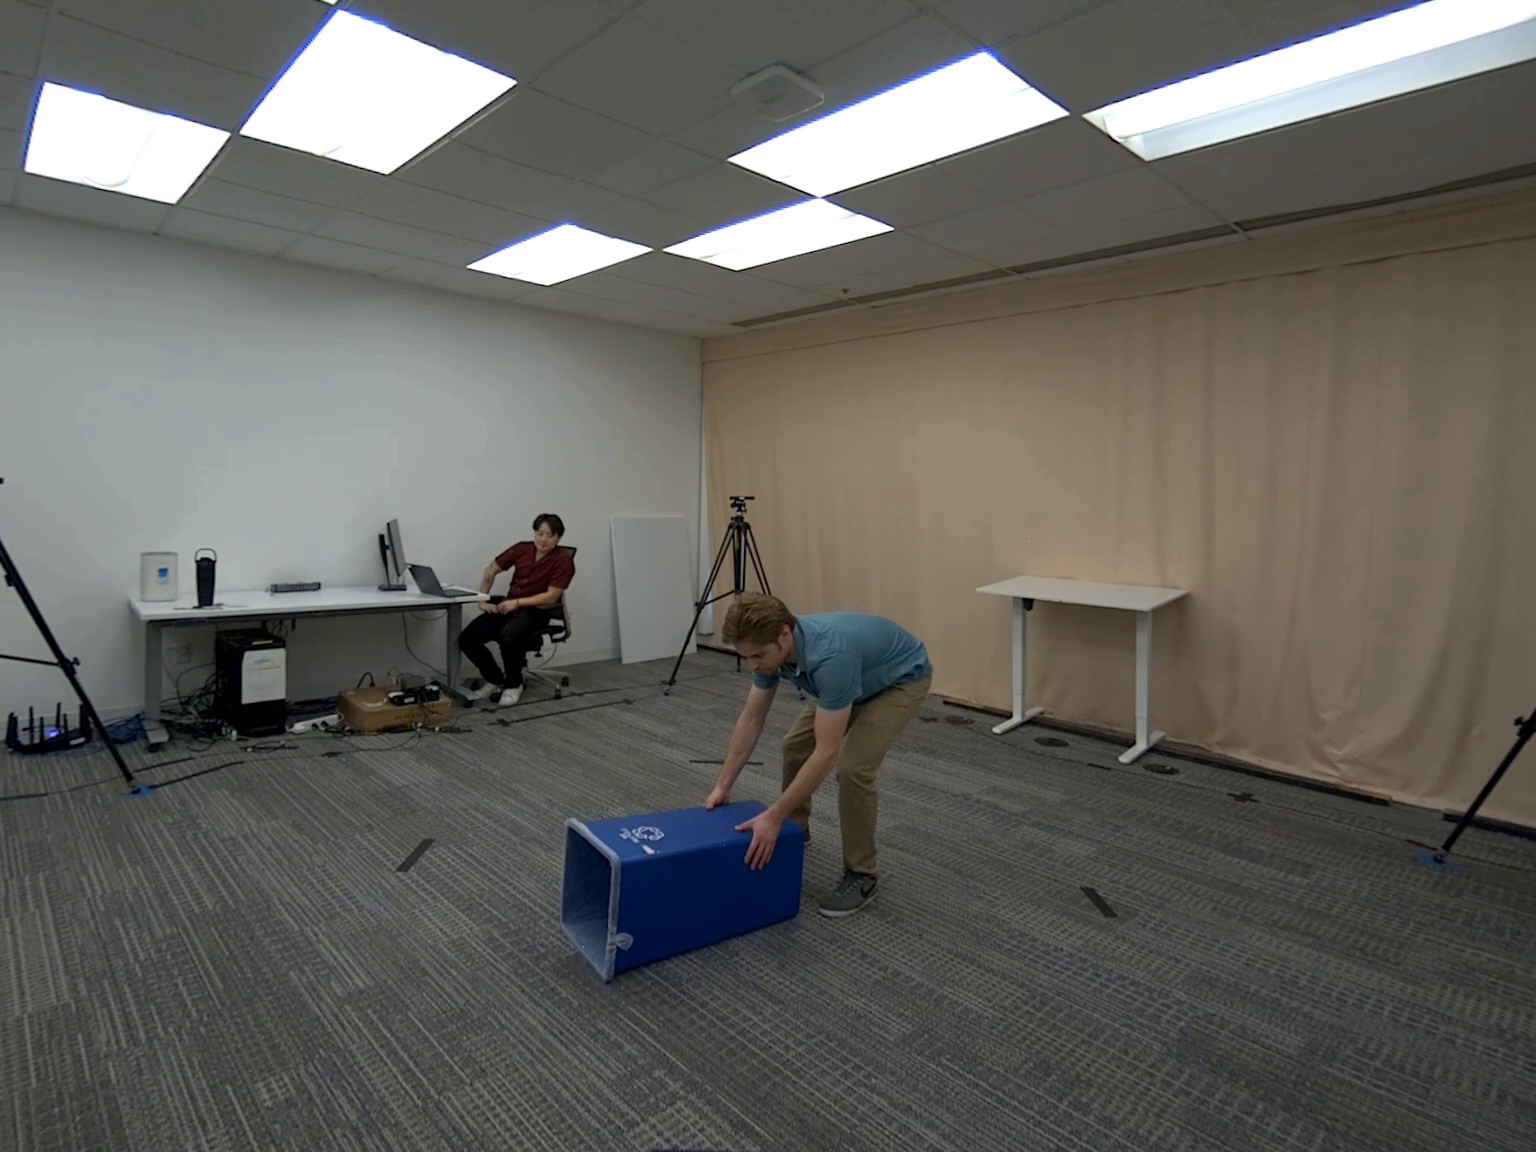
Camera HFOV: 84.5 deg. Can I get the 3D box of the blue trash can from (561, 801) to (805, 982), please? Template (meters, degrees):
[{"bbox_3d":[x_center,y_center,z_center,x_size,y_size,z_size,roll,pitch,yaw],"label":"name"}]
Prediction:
[{"bbox_3d":[-0.276,0.972,2.725,0.697,0.377,0.383,1,4,-35],"label":"blue trash can"}]
